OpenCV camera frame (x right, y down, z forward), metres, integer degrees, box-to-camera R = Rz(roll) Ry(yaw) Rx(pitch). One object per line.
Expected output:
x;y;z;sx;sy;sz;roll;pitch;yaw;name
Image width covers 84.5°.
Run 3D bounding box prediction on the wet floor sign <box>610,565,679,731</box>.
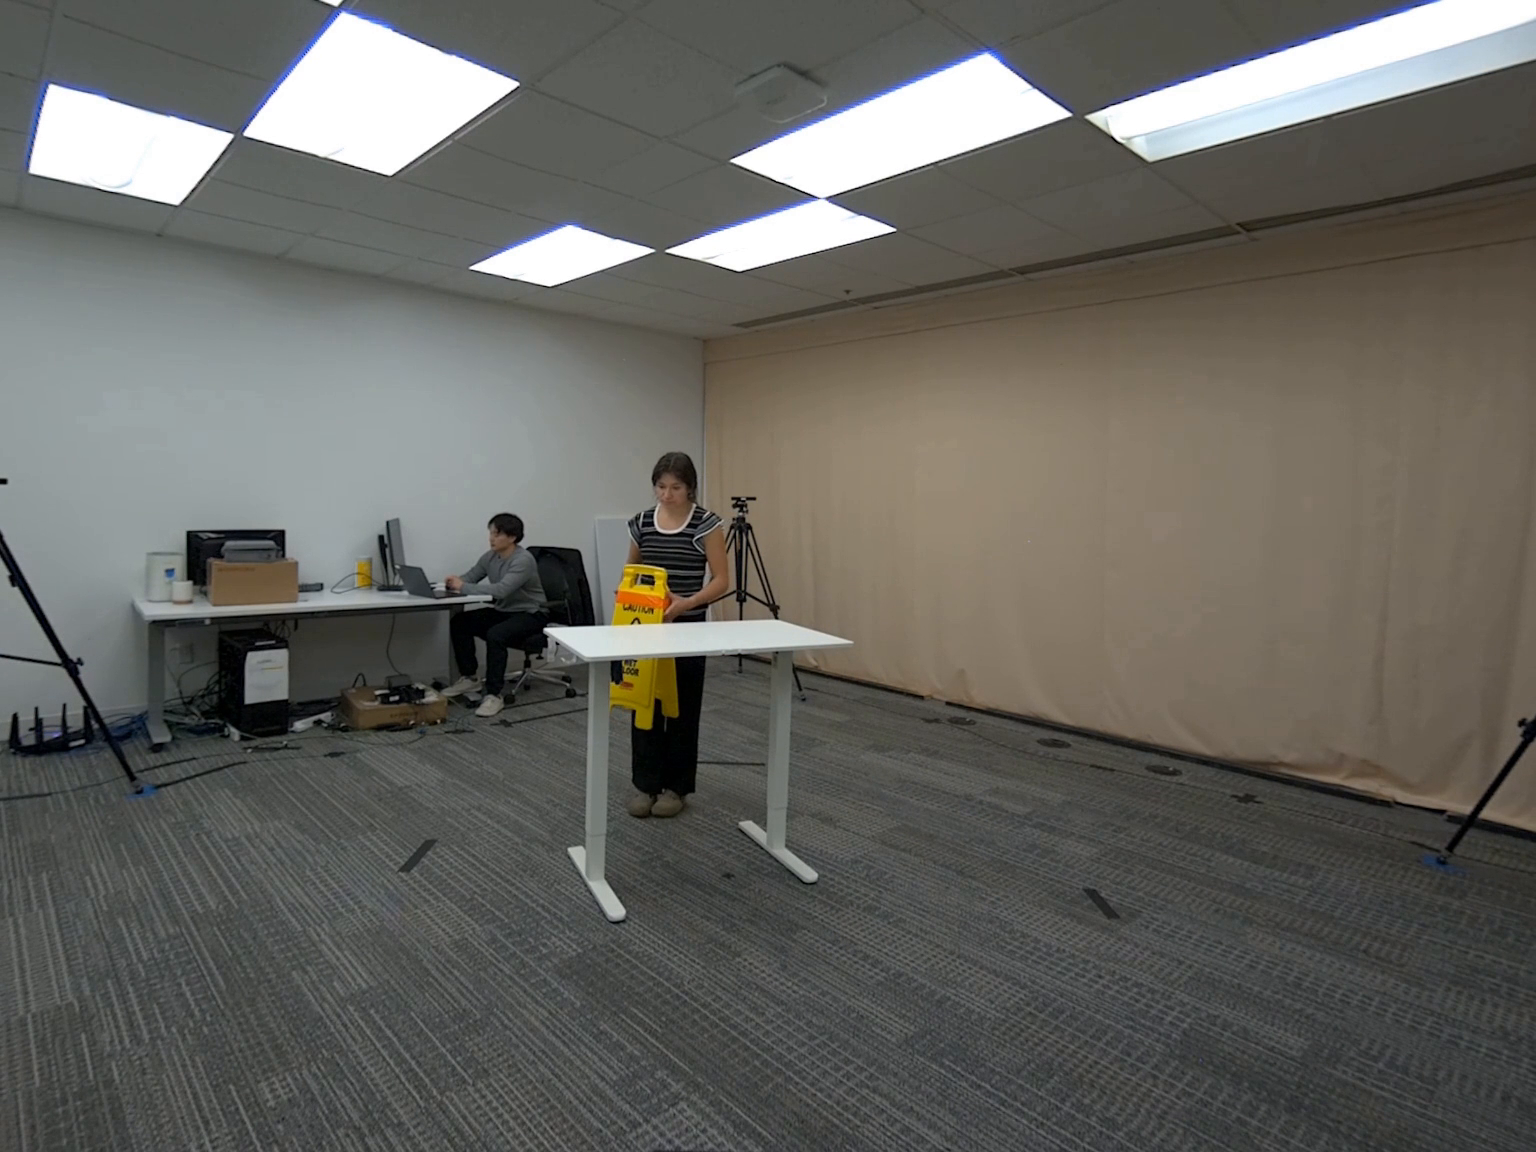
-0.558;0.284;3.563;0.288;0.644;0.285;6;4;24;wet floor sign
